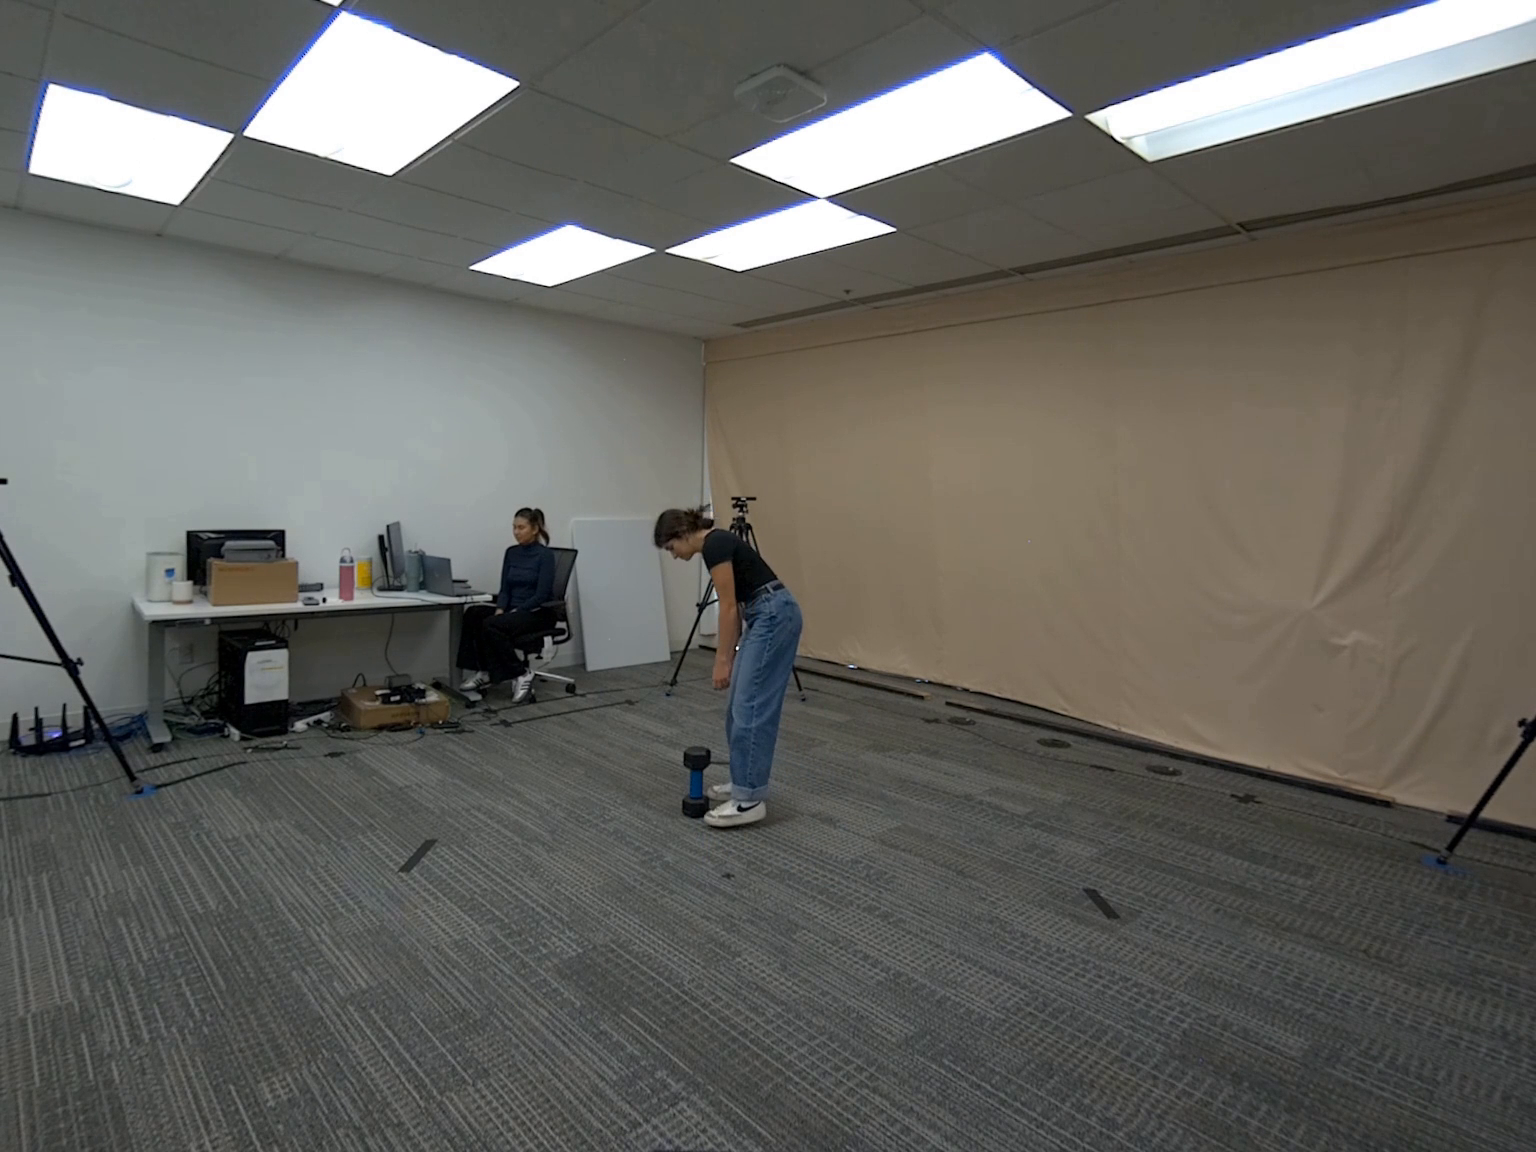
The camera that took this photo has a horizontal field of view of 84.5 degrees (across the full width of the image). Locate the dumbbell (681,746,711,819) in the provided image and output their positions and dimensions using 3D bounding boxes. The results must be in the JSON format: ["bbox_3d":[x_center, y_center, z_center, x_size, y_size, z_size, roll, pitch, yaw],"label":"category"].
[{"bbox_3d":[-0.318,0.902,3.699,0.121,0.293,0.110,1,4,-14],"label":"dumbbell"}]
